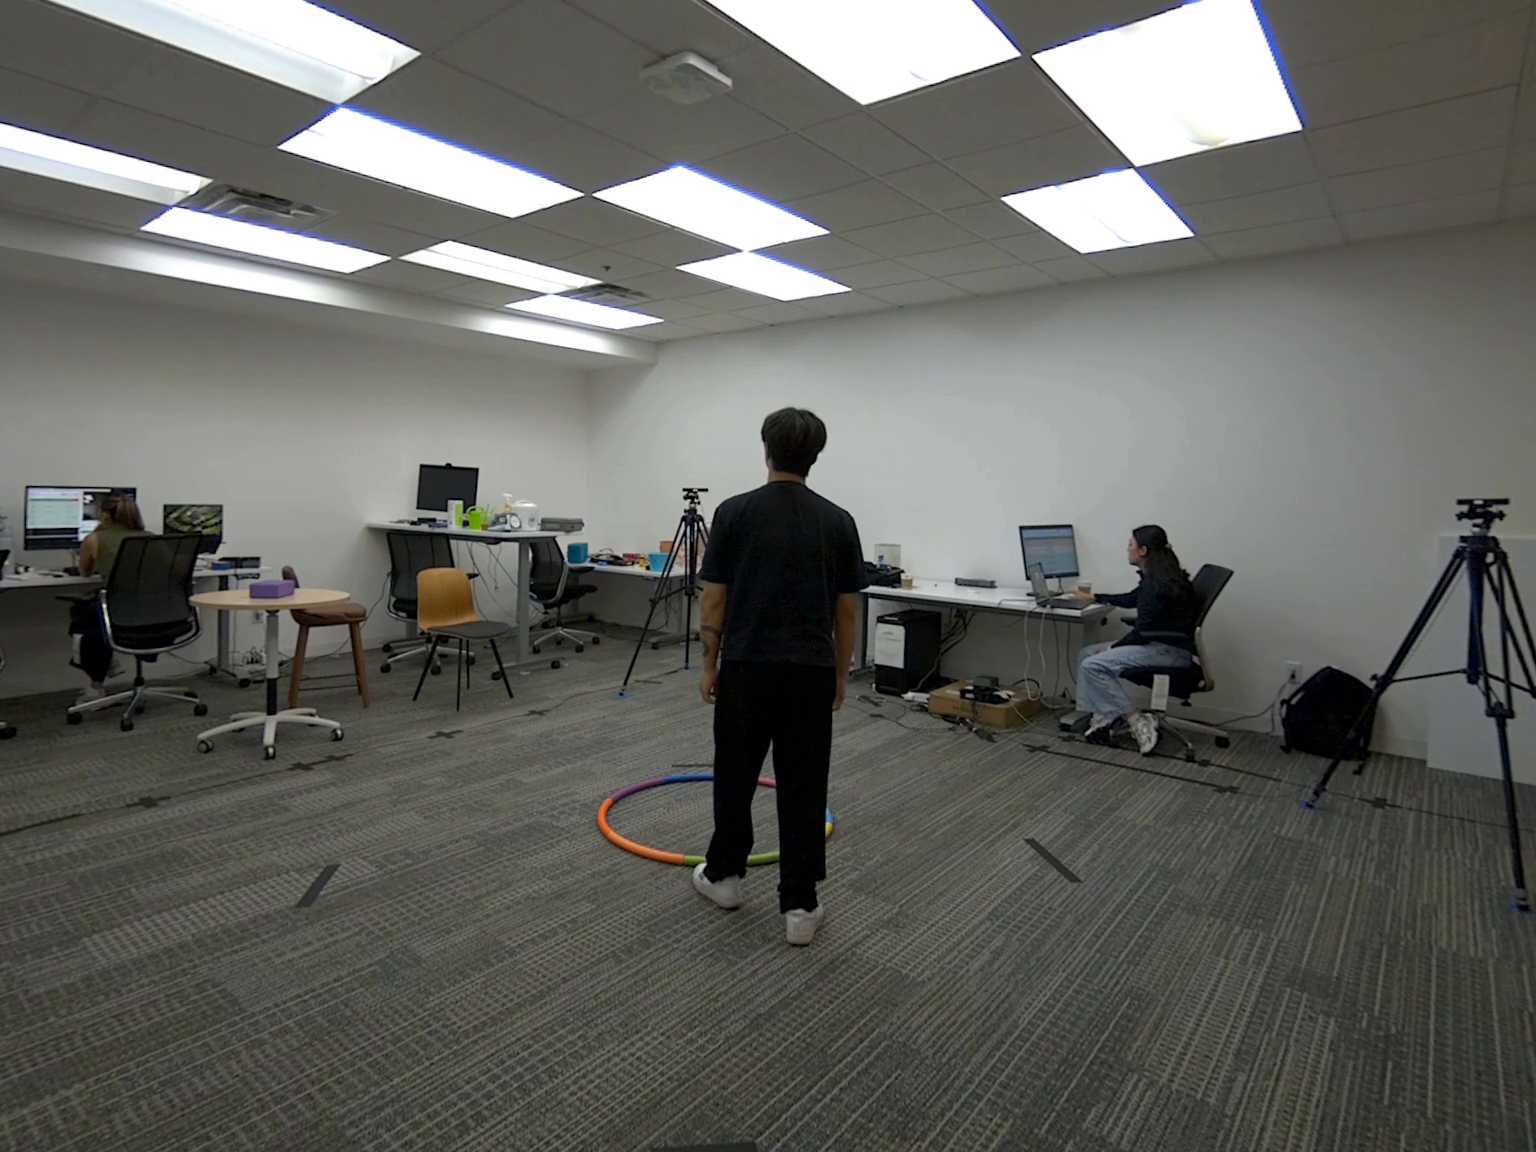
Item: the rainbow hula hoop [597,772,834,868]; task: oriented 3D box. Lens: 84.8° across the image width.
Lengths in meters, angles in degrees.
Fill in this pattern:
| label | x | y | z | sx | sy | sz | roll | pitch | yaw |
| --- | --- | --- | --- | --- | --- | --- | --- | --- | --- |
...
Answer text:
| label | x | y | z | sx | sy | sz | roll | pitch | yaw |
| --- | --- | --- | --- | --- | --- | --- | --- | --- | --- |
| rainbow hula hoop | -0.235 | 0.992 | 3.595 | 0.978 | 0.035 | 0.984 | 1 | 6 | -2 |
